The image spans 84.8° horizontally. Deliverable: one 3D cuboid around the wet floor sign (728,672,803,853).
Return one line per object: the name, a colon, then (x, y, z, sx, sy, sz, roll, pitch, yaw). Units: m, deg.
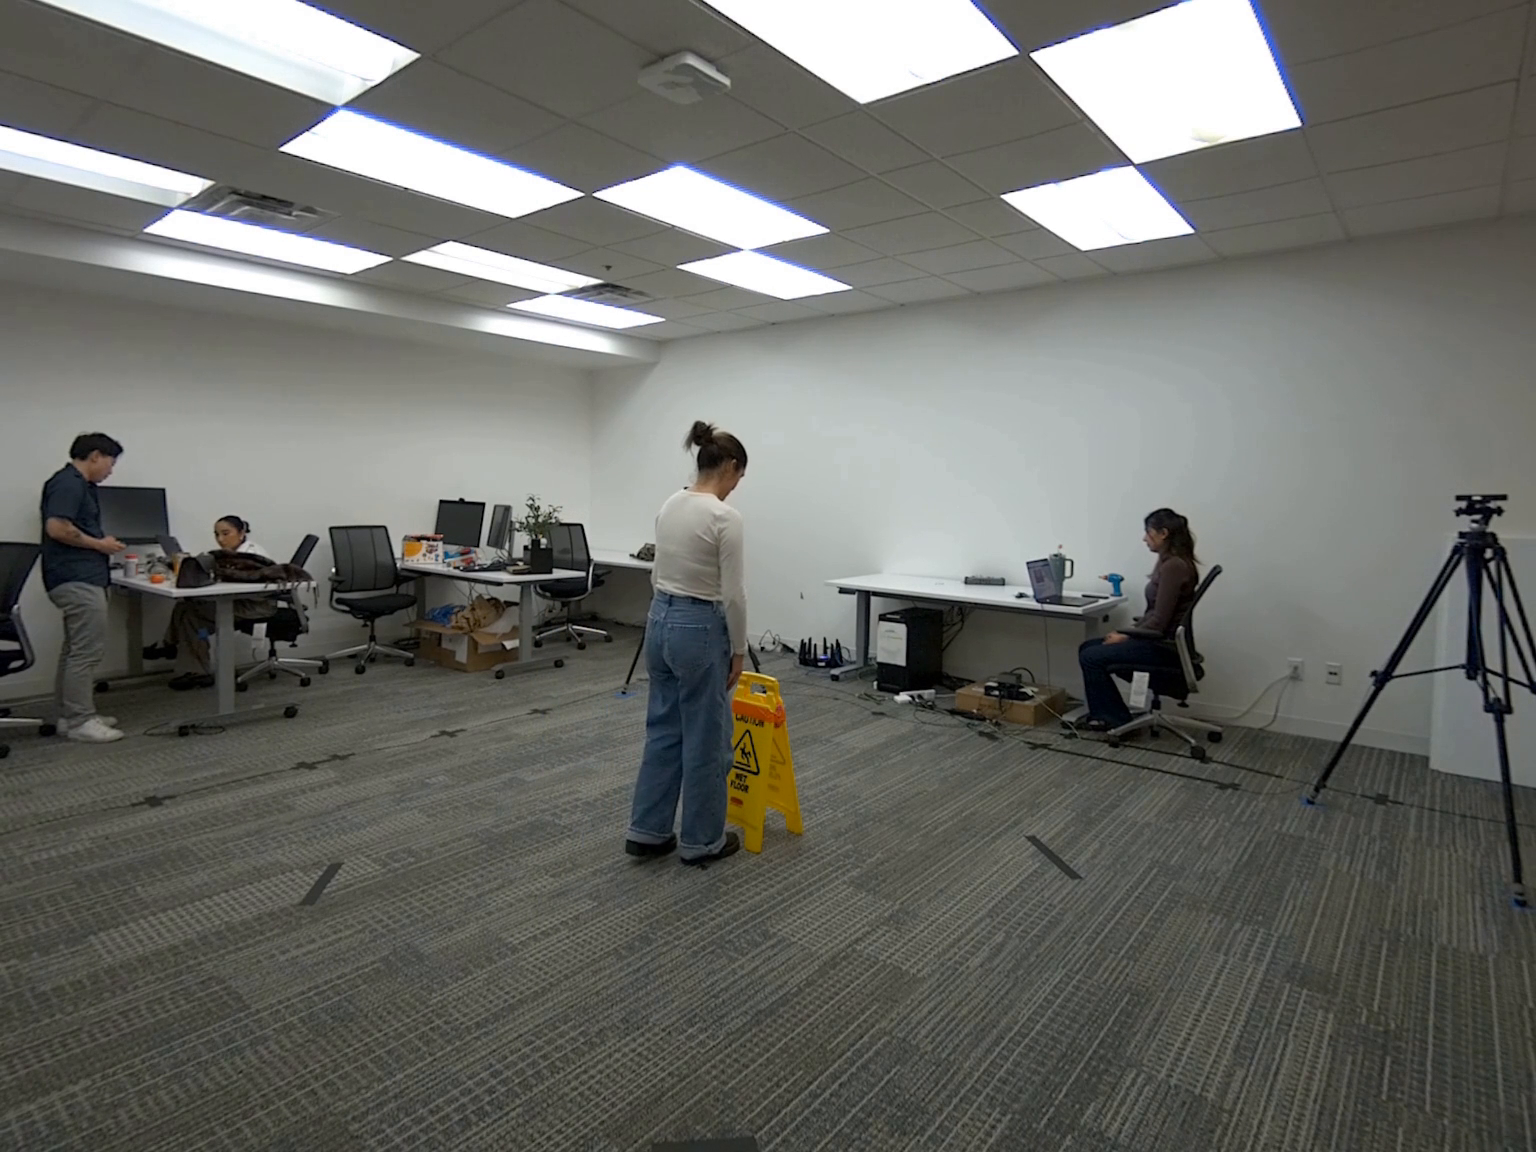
wet floor sign: (-0.059, 0.711, 3.411, 0.292, 0.644, 0.281, 3, 4, 42)
